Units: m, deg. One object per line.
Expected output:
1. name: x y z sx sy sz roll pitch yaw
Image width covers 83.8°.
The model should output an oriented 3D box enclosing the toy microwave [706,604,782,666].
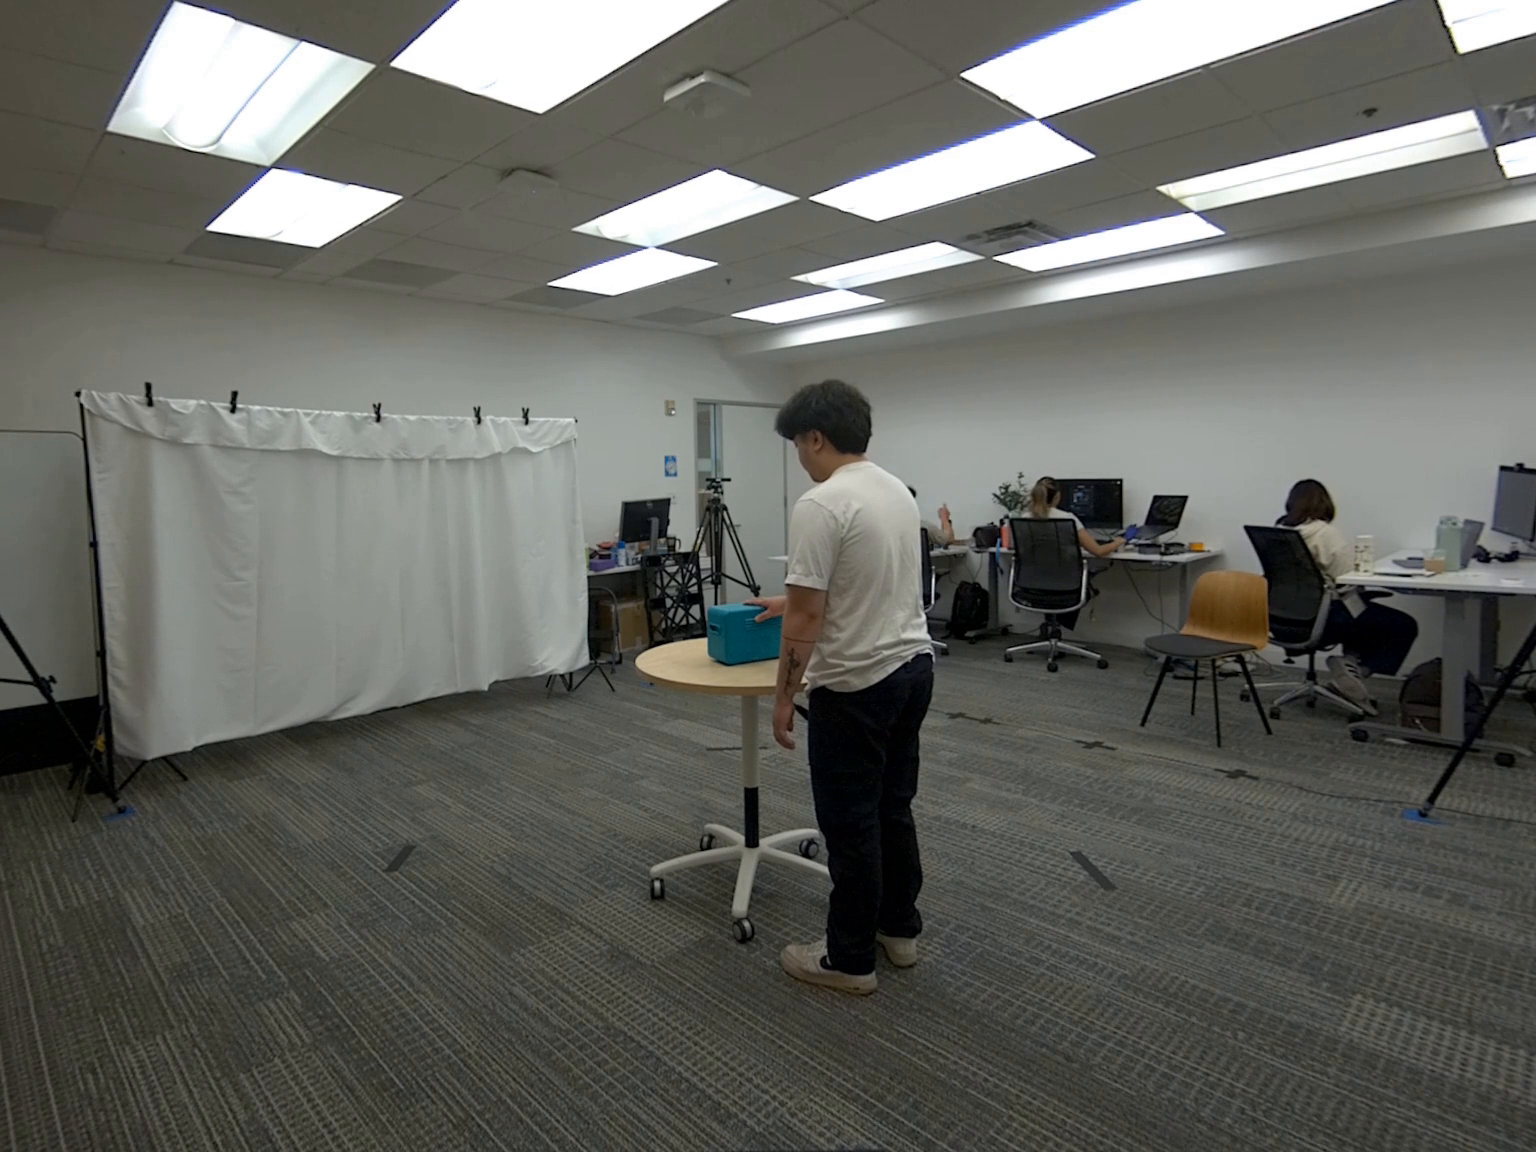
1. toy microwave: -0.056 0.184 2.869 0.279 0.183 0.157 -5 7 -30
